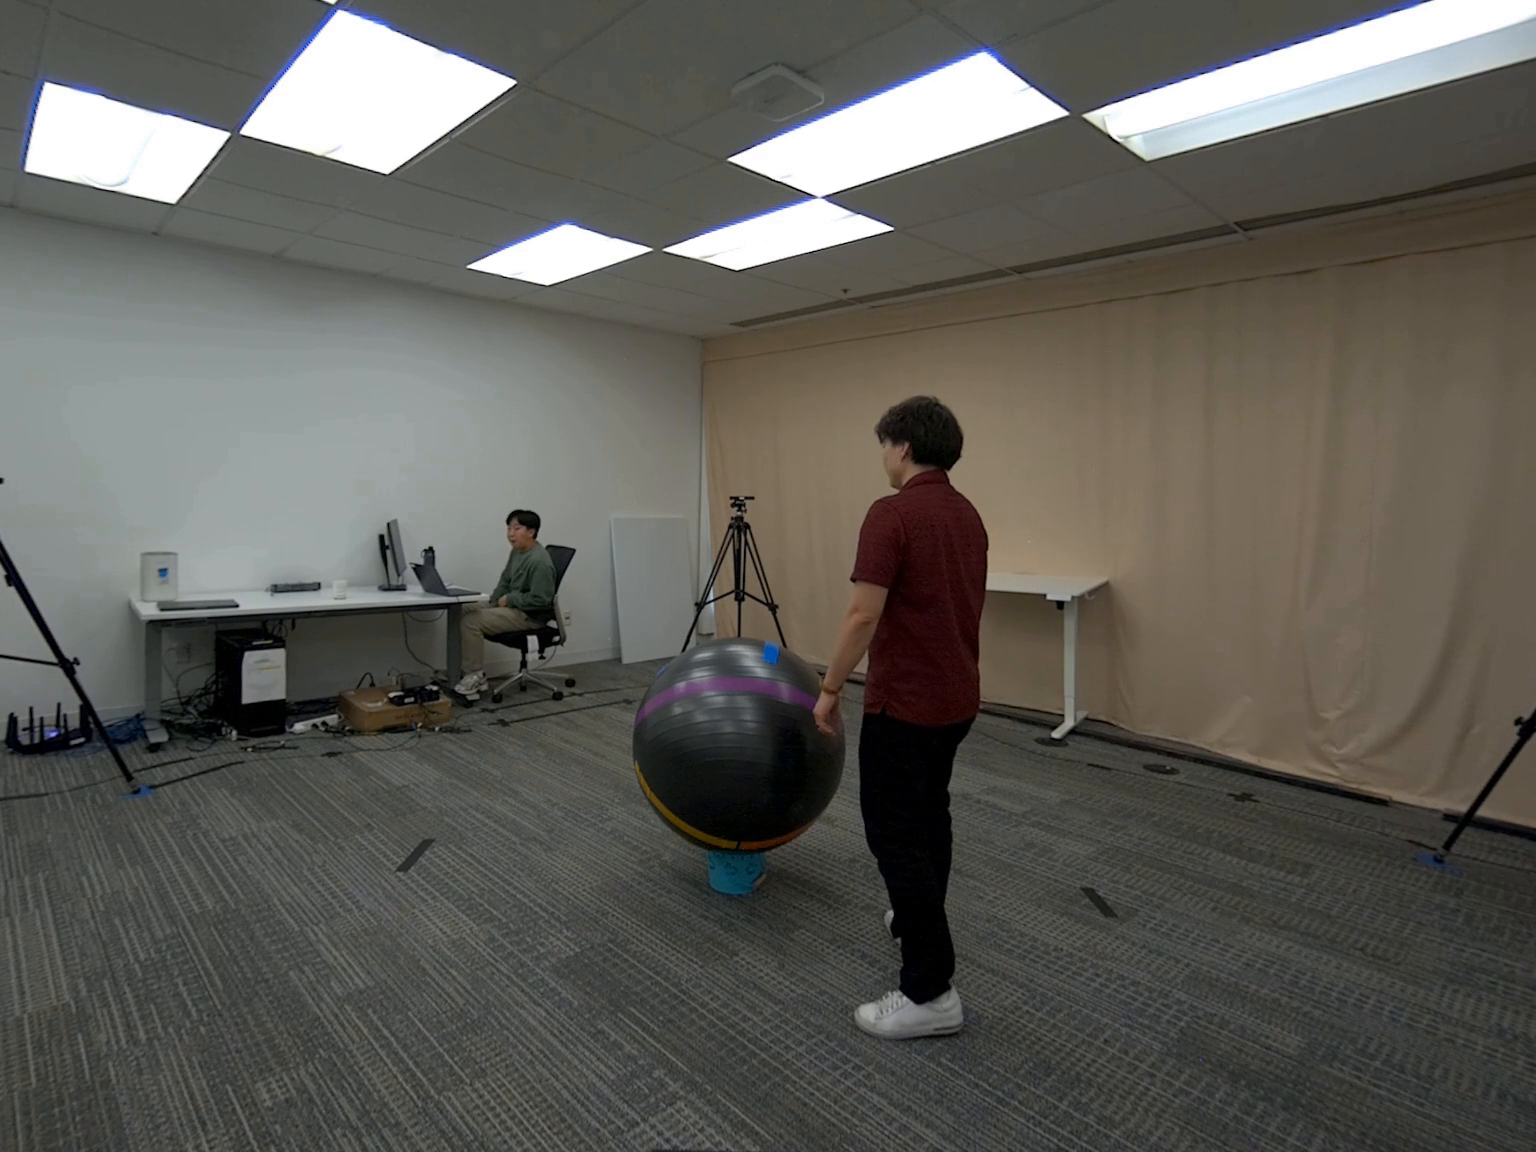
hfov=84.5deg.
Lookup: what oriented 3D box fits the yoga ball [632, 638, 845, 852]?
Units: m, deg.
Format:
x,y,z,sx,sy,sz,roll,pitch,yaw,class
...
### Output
x,y,z,sx,sy,sz,roll,pitch,yaw,class
-0.105,0.597,3.026,0.757,0.756,0.761,1,4,-1,yoga ball
